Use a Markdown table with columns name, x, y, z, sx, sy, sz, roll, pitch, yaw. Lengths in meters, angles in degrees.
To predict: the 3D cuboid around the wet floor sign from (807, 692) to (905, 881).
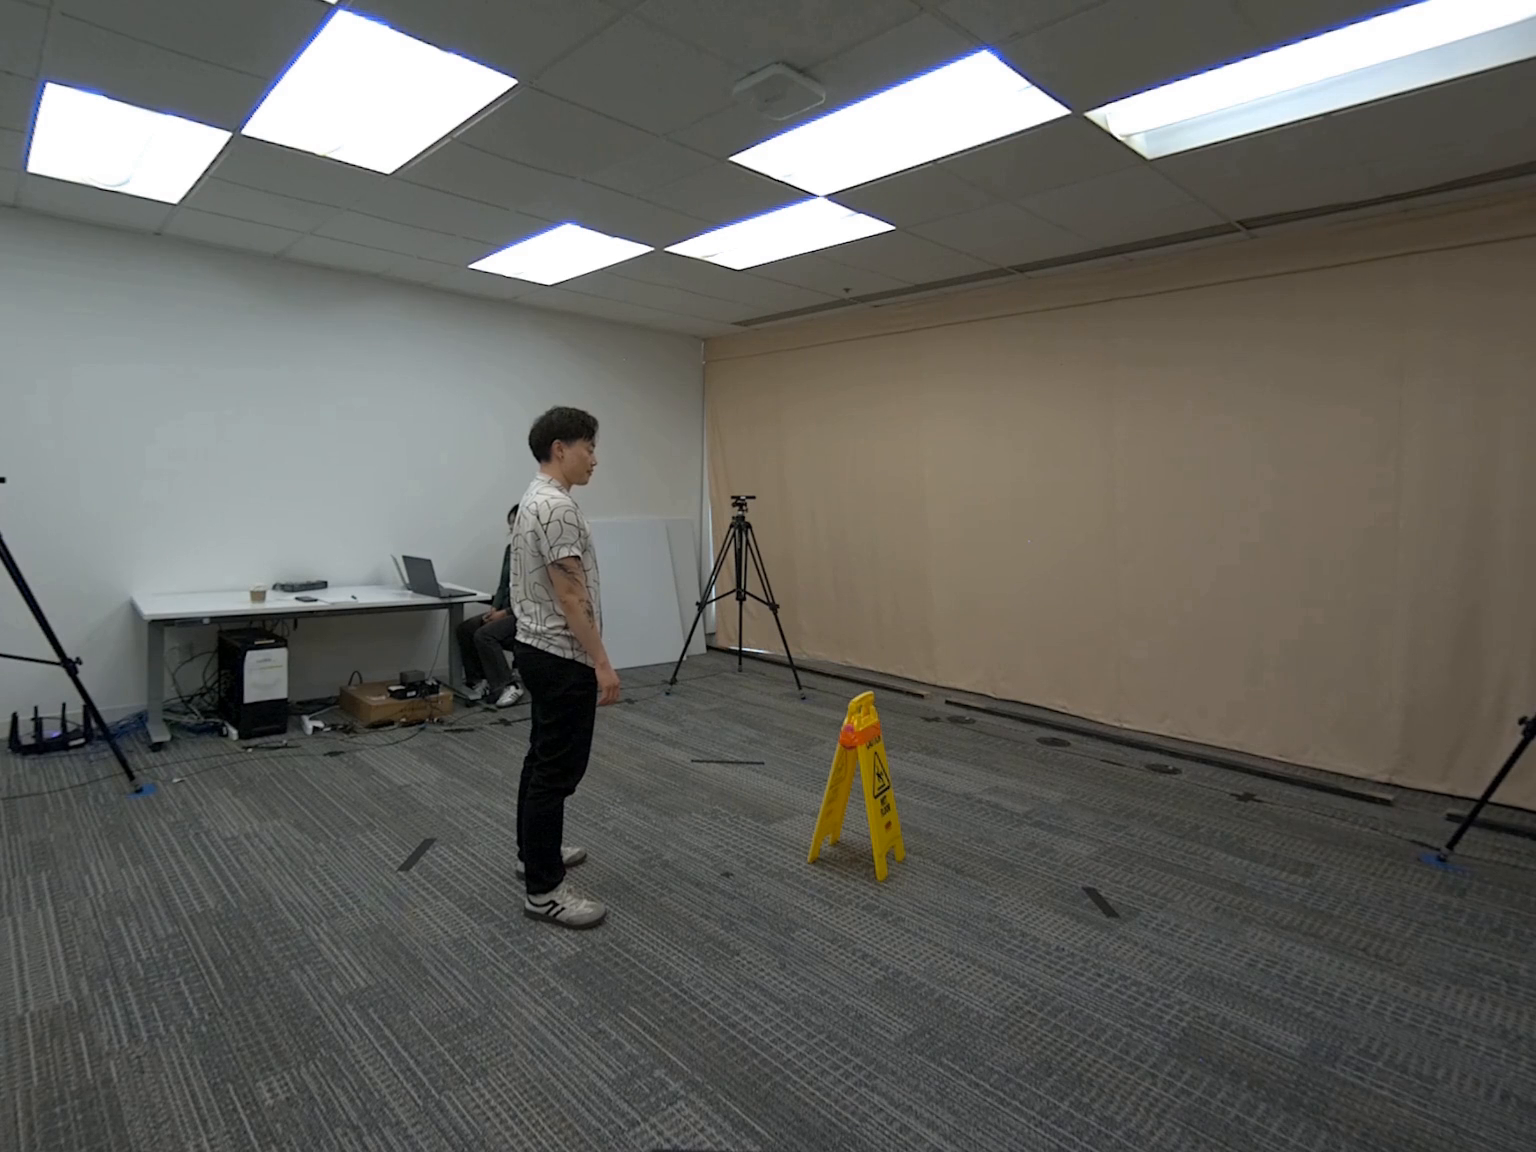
| name | x | y | z | sx | sy | sz | roll | pitch | yaw |
| --- | --- | --- | --- | --- | --- | --- | --- | --- | --- |
| wet floor sign | 0.342 | 0.776 | 3.243 | 0.296 | 0.645 | 0.277 | 2 | 2 | 29 |
